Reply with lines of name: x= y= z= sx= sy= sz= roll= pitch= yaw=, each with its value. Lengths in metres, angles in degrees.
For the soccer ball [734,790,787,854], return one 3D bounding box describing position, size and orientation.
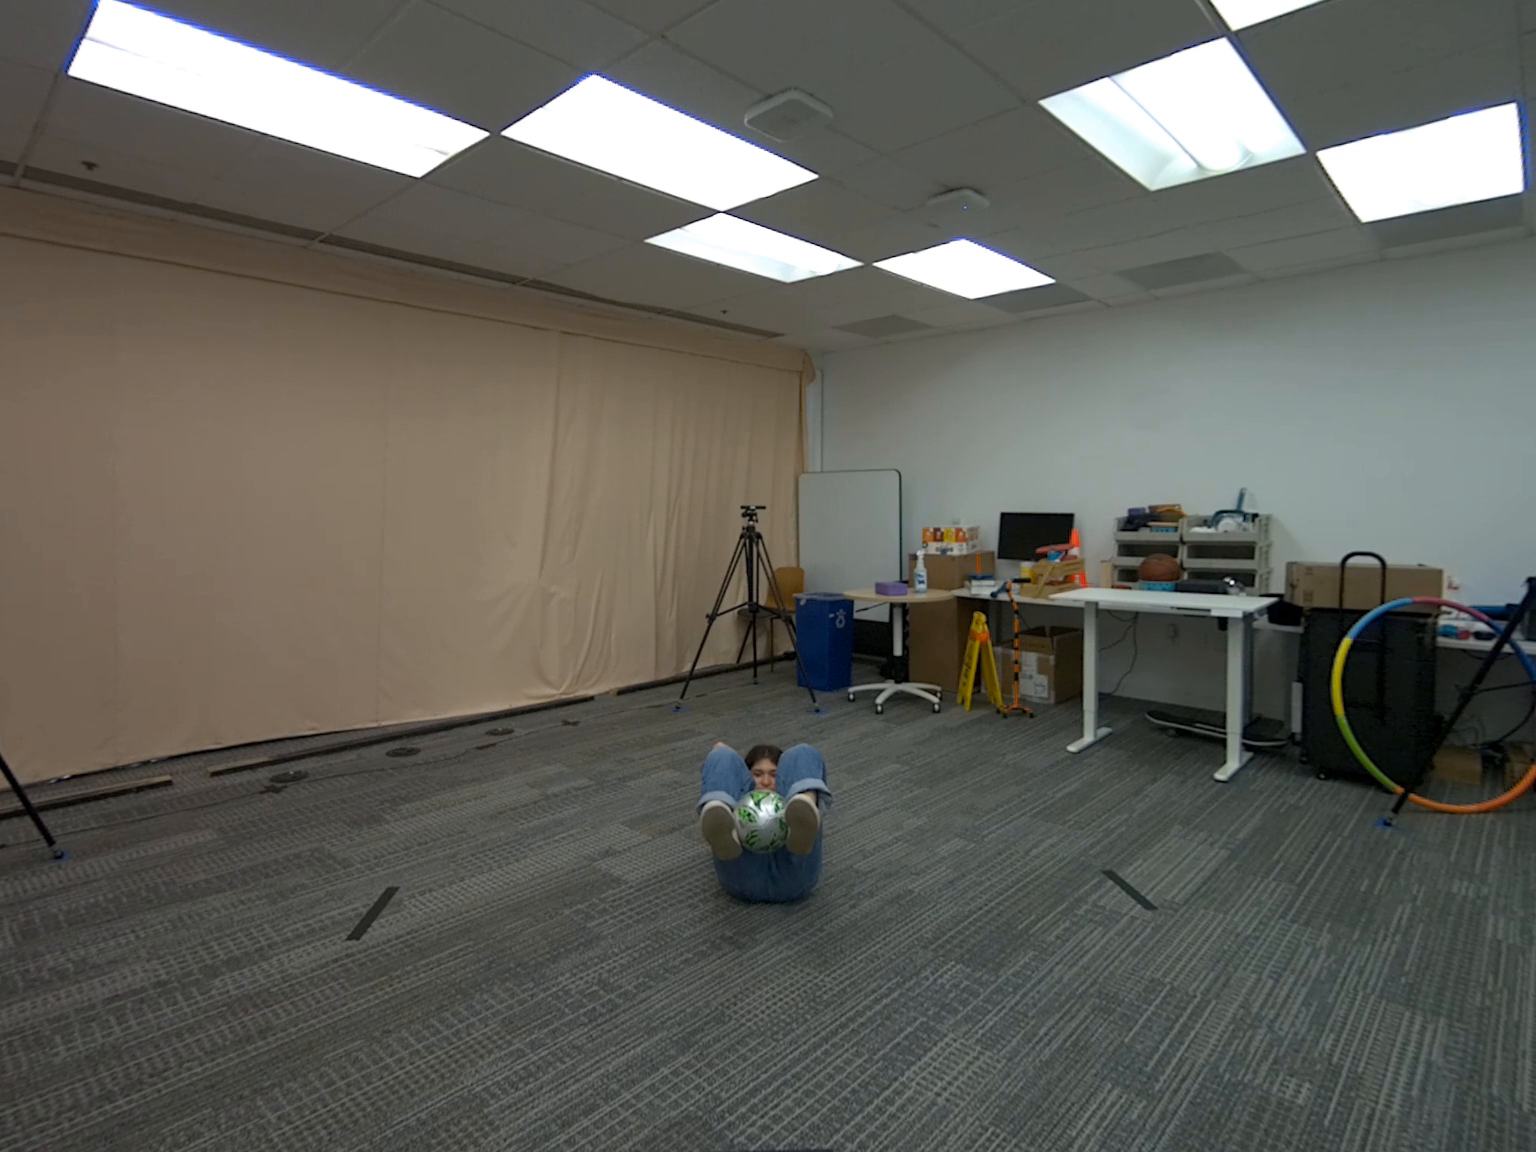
soccer ball: x=-0.003 y=0.760 z=2.573 sx=0.187 sy=0.187 sz=0.188 roll=3 pitch=4 yaw=-2
